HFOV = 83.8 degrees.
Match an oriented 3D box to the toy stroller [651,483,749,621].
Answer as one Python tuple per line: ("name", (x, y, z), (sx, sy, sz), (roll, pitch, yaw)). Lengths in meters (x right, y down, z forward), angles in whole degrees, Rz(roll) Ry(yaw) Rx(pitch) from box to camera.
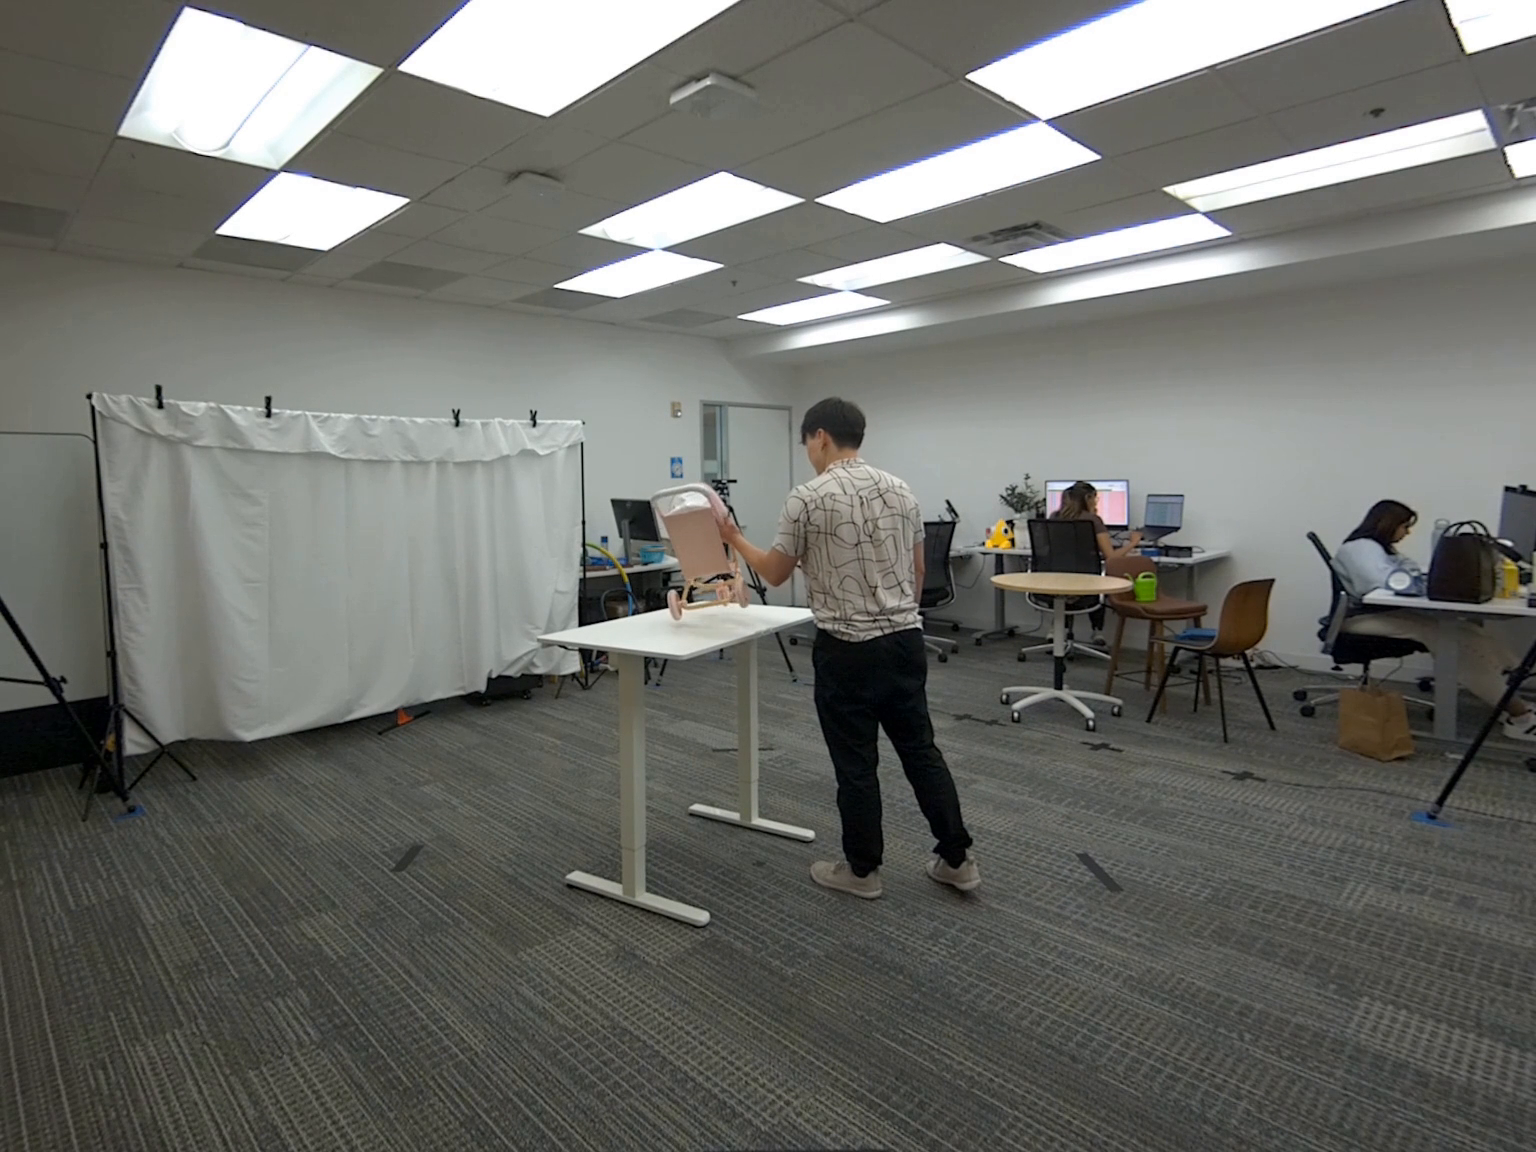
("toy stroller", (-0.229, -0.100, 3.079), (0.285, 0.527, 0.343), (-10, 15, 14))
